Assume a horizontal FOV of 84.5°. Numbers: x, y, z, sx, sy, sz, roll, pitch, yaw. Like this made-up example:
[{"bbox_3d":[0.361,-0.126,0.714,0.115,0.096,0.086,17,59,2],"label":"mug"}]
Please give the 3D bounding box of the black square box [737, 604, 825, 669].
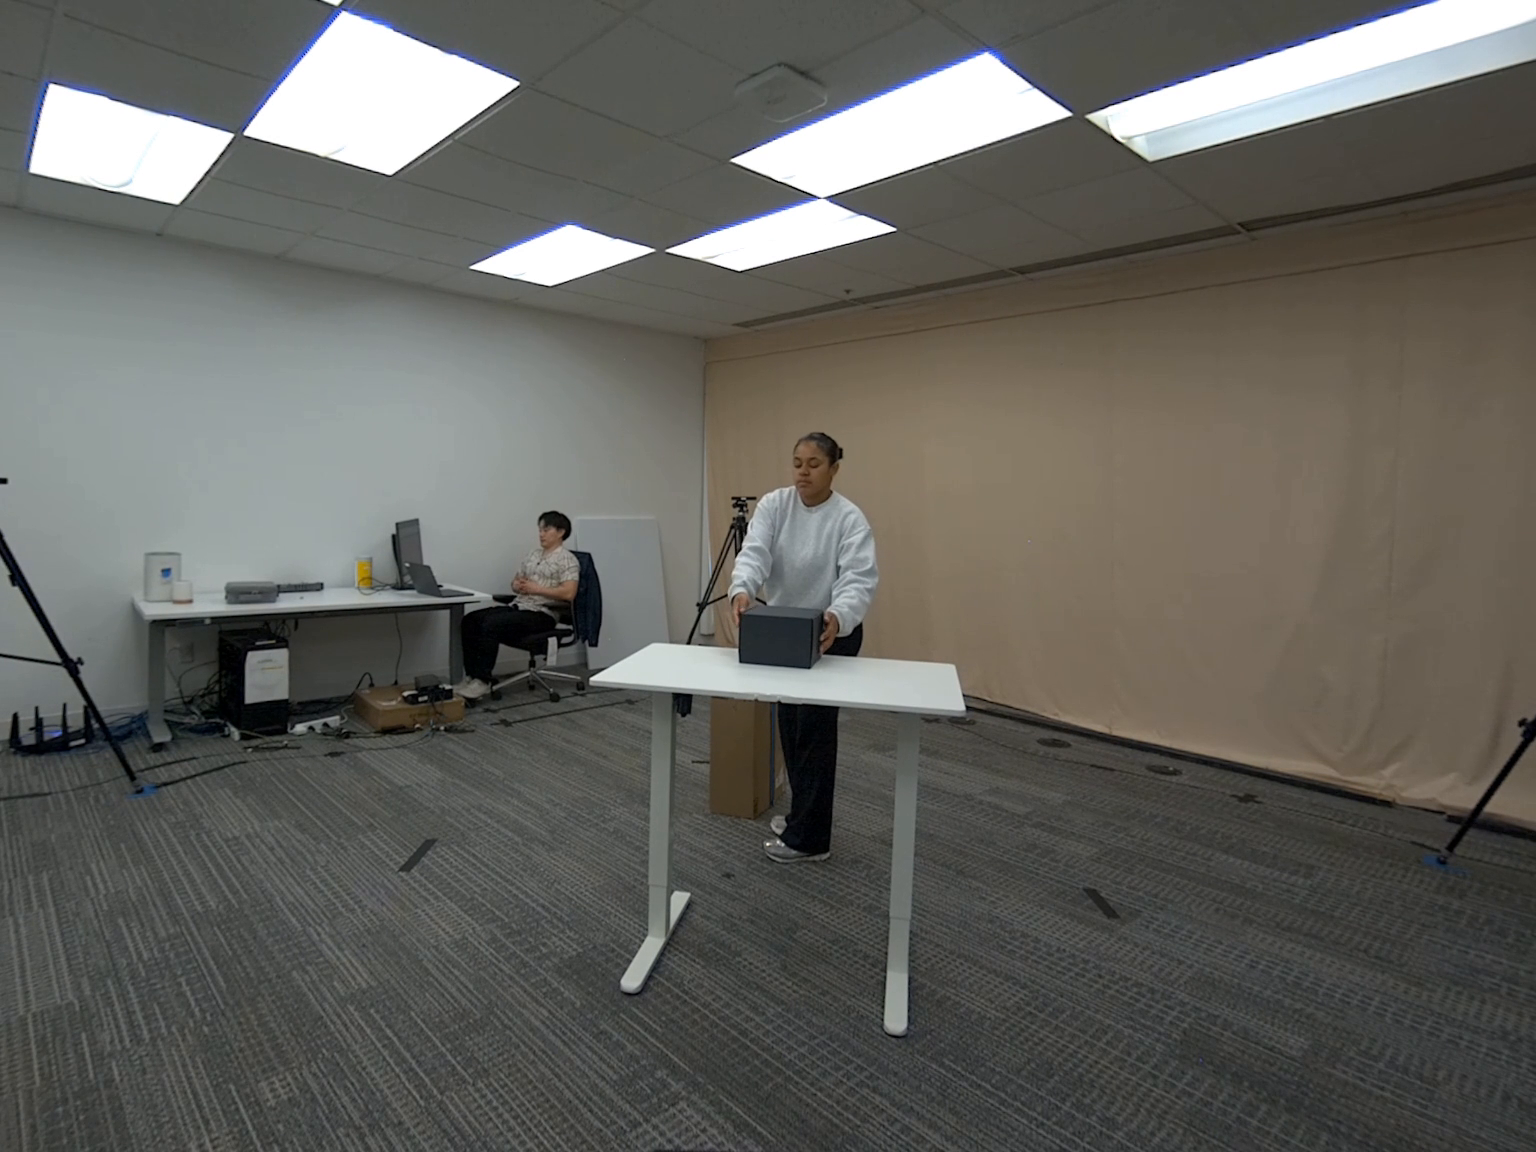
[{"bbox_3d":[0.030,0.188,2.664,0.230,0.155,0.215,4,5,12],"label":"black square box"}]
